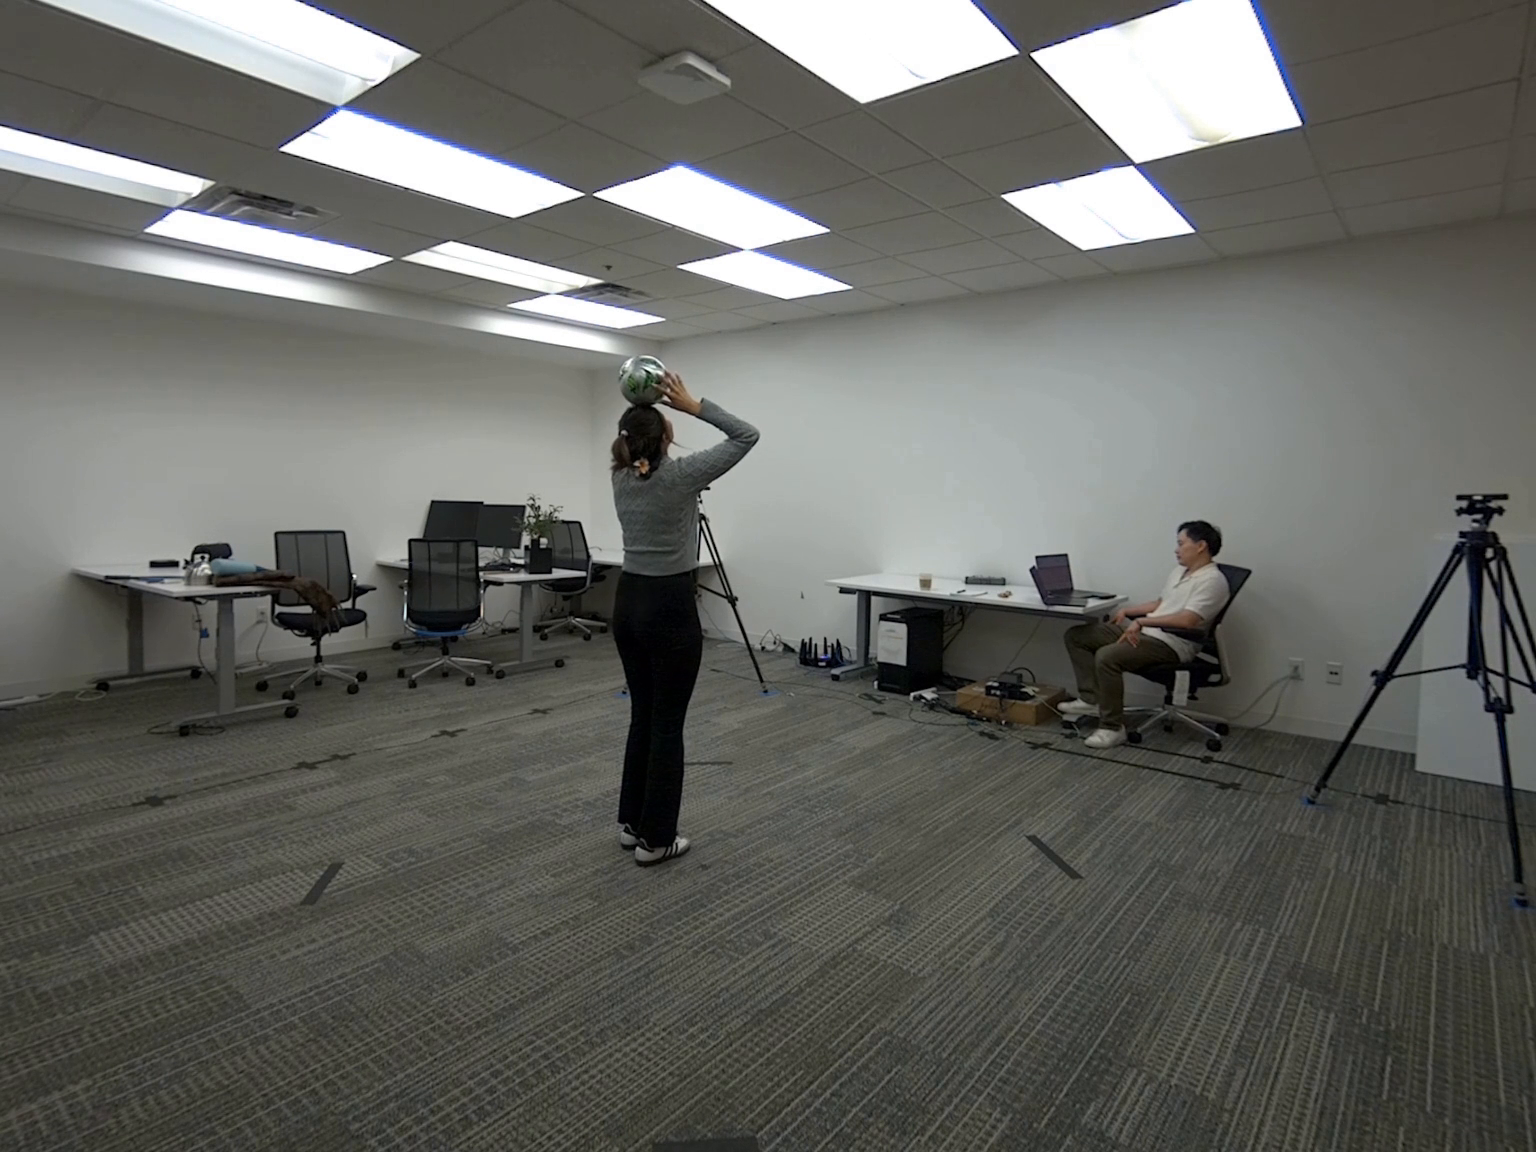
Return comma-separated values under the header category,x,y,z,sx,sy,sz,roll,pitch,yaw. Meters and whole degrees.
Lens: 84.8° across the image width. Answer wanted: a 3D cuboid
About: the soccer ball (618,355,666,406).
category,x,y,z,sx,sy,sz,roll,pitch,yaw
soccer ball,-0.468,-0.717,3.133,0.187,0.187,0.188,1,4,-2
